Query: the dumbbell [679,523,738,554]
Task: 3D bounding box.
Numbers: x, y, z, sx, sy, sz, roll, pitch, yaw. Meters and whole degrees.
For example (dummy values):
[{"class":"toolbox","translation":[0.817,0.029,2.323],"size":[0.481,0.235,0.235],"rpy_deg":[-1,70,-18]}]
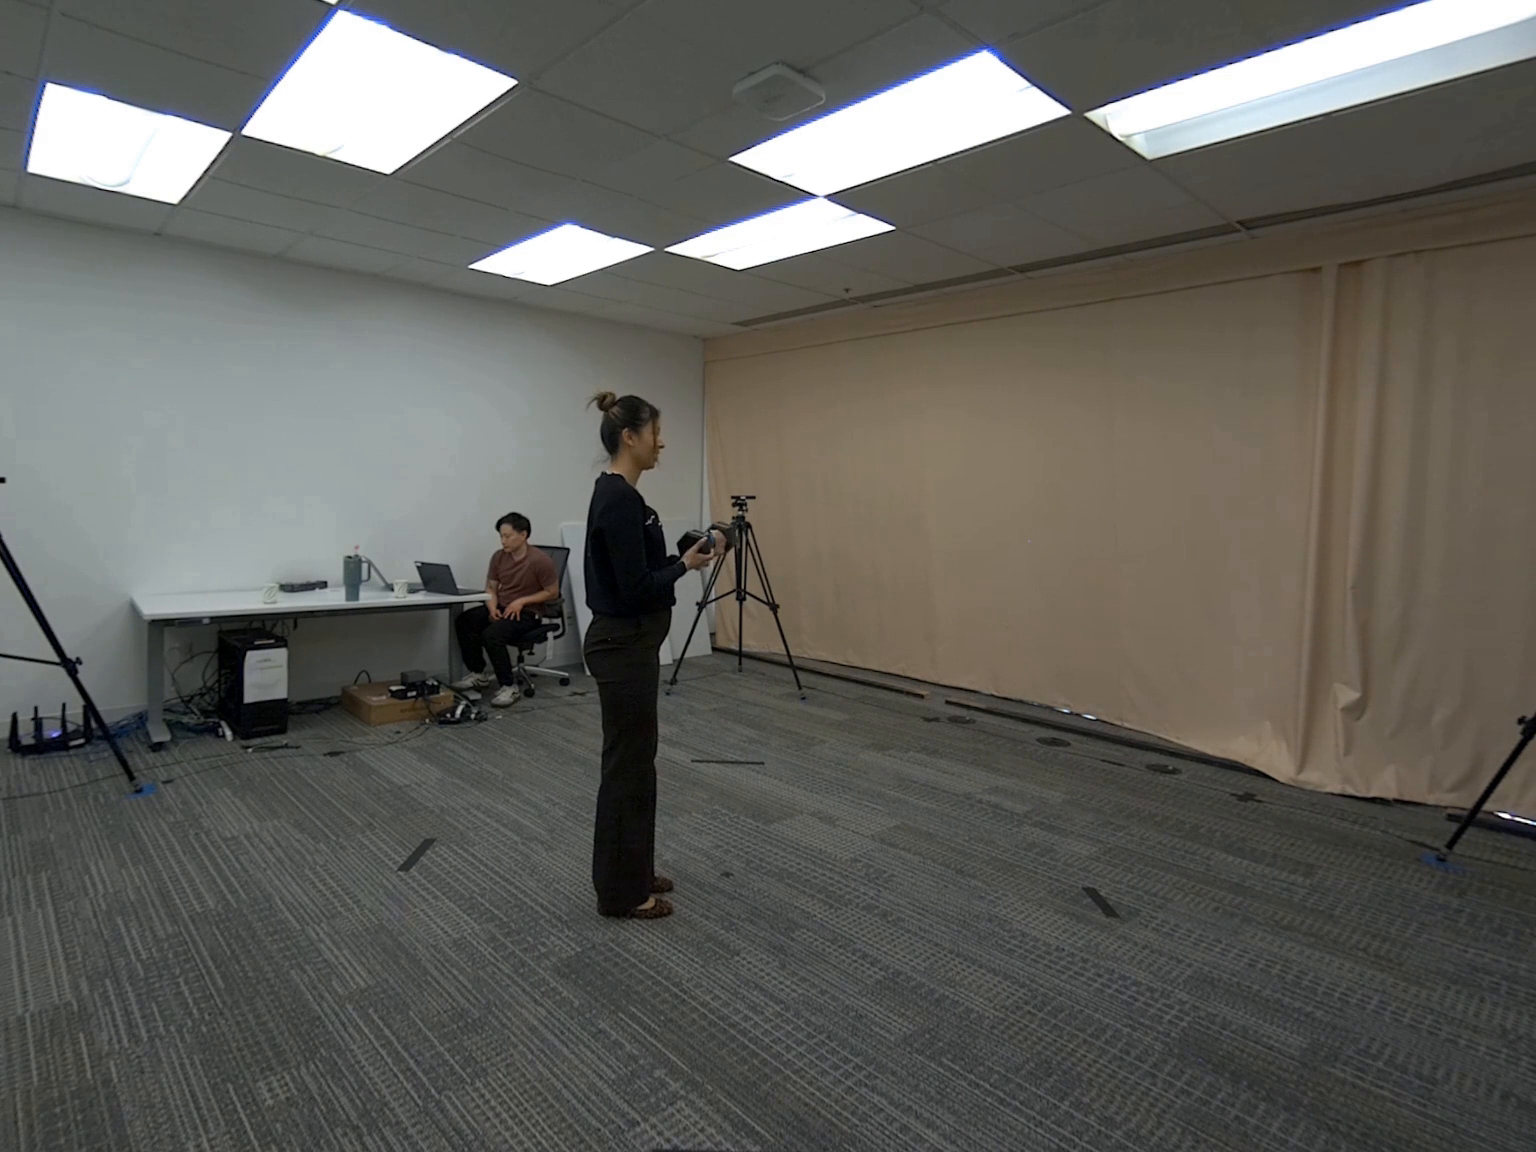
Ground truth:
[{"class":"dumbbell","translation":[-0.226,-0.117,3.005],"size":[0.123,0.109,0.291],"rpy_deg":[-44,-6,23]}]
